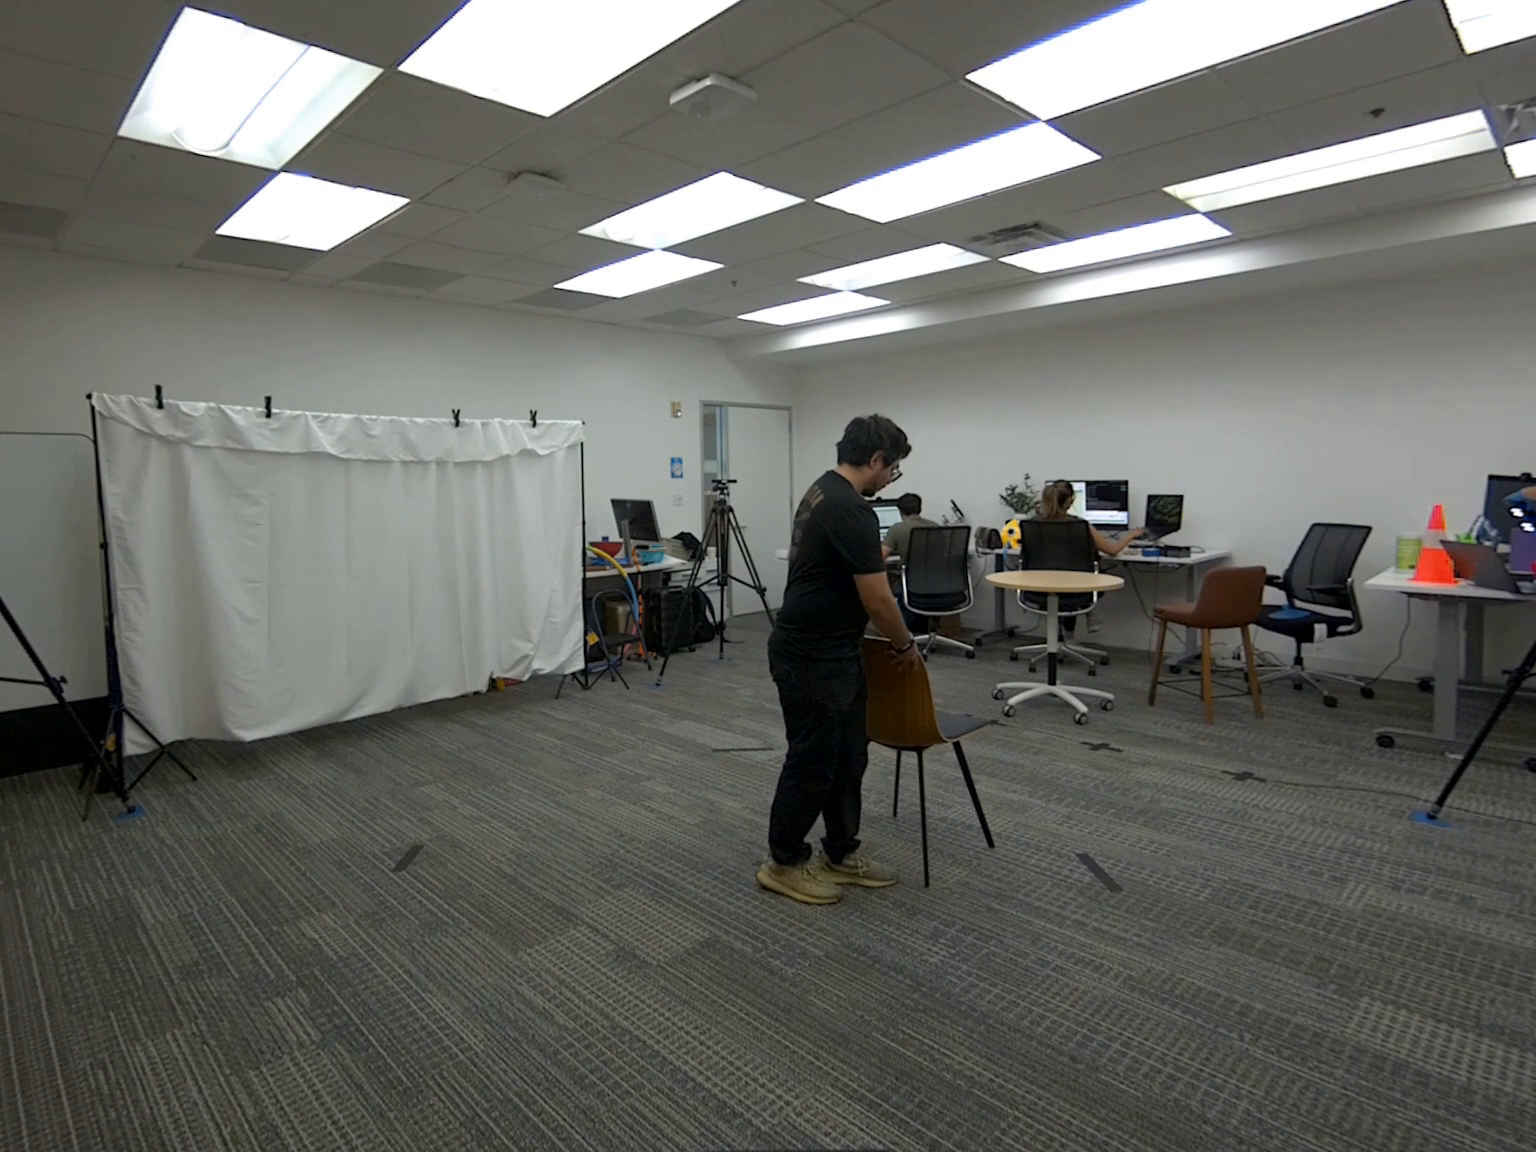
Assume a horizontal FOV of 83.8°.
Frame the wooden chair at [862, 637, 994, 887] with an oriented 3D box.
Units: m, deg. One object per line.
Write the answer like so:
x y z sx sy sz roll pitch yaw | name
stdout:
0.530 0.600 3.198 0.493 0.872 0.511 3 10 45 | wooden chair
